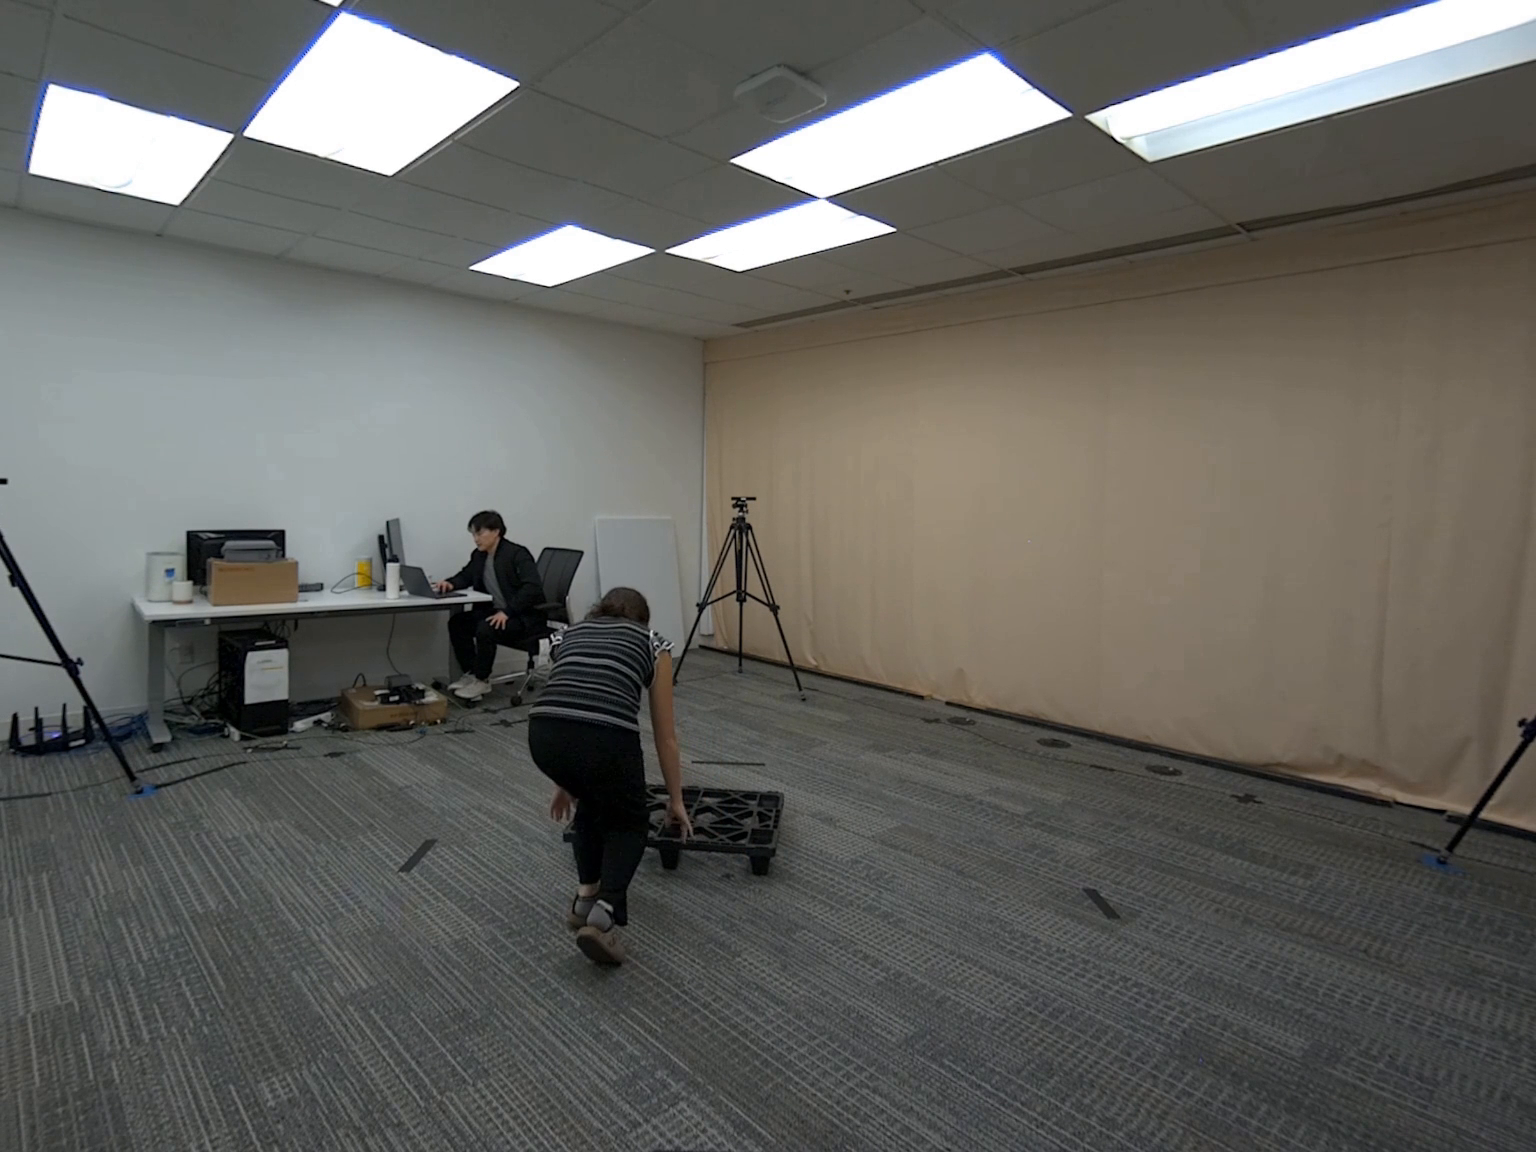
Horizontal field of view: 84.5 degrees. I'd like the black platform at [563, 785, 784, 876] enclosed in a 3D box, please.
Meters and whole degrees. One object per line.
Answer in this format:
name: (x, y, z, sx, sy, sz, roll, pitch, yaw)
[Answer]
black platform: (-0.355, 1.010, 3.379, 0.810, 0.143, 0.604, 2, 6, 6)
